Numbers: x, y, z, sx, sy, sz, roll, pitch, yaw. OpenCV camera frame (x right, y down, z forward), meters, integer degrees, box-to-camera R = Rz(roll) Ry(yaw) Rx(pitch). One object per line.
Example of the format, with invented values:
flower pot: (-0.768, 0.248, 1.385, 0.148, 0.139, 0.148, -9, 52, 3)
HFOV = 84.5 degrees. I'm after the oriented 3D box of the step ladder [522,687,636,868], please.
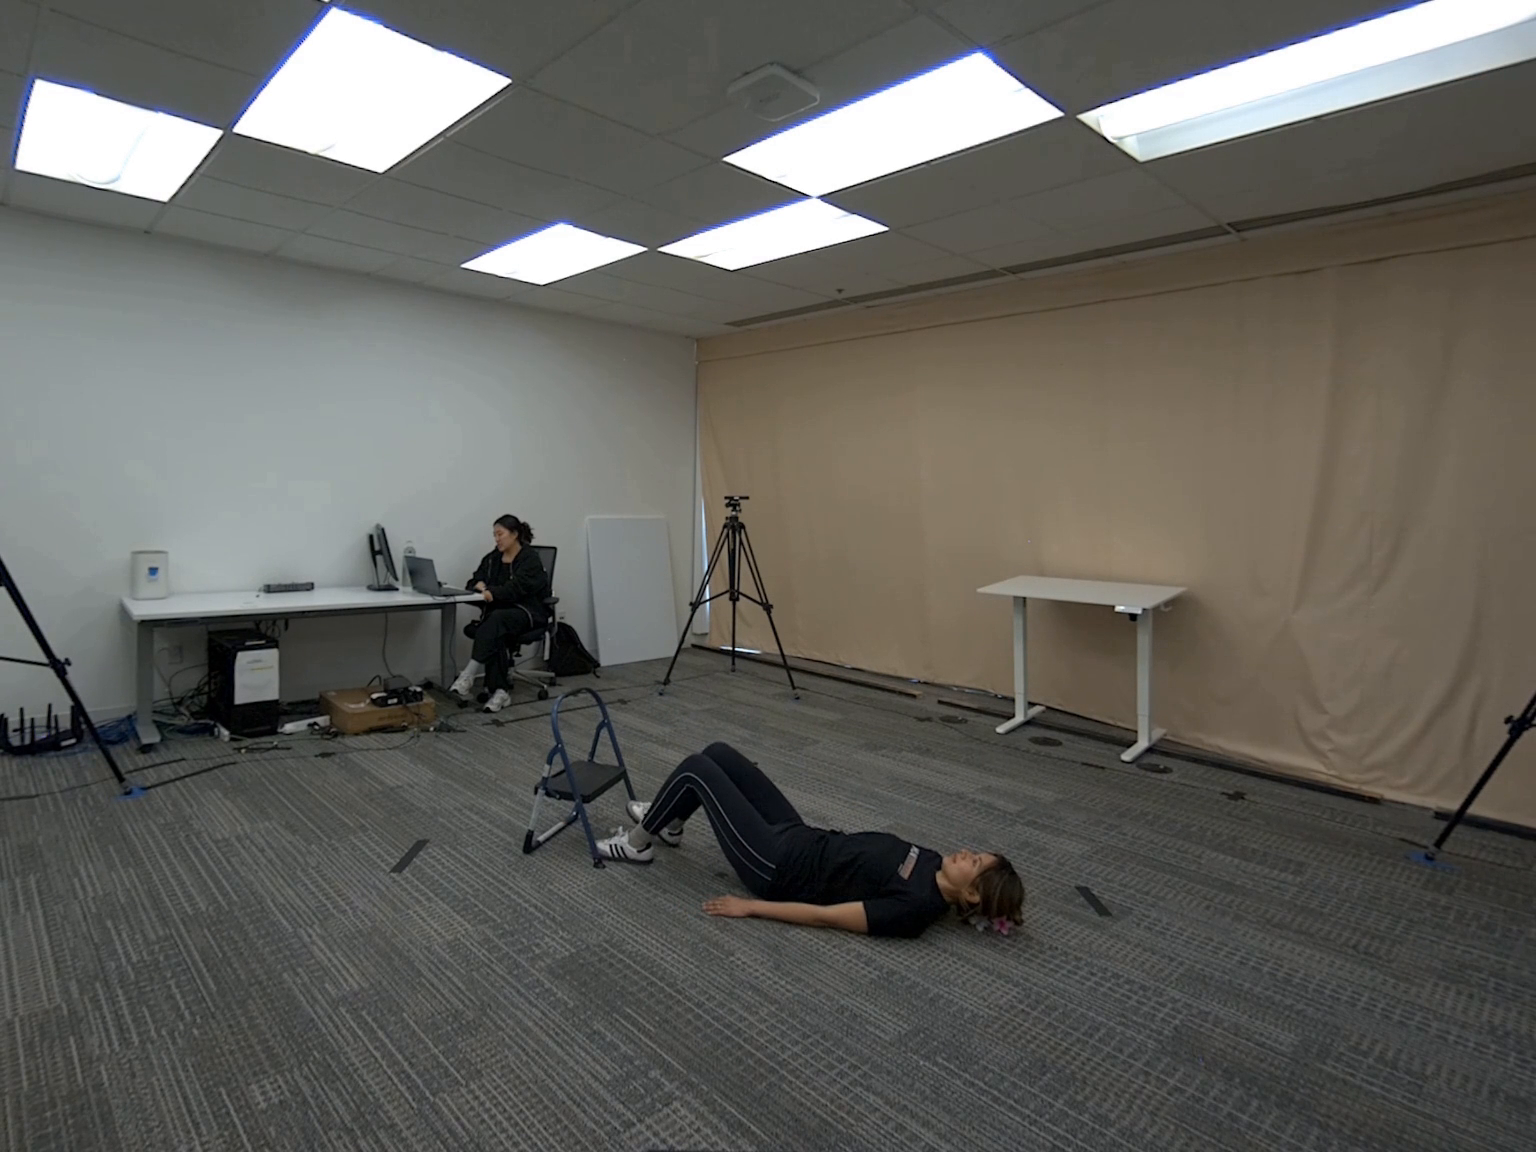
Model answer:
step ladder: (-0.727, 0.761, 3.374, 0.354, 0.604, 0.426, 3, 4, 16)
